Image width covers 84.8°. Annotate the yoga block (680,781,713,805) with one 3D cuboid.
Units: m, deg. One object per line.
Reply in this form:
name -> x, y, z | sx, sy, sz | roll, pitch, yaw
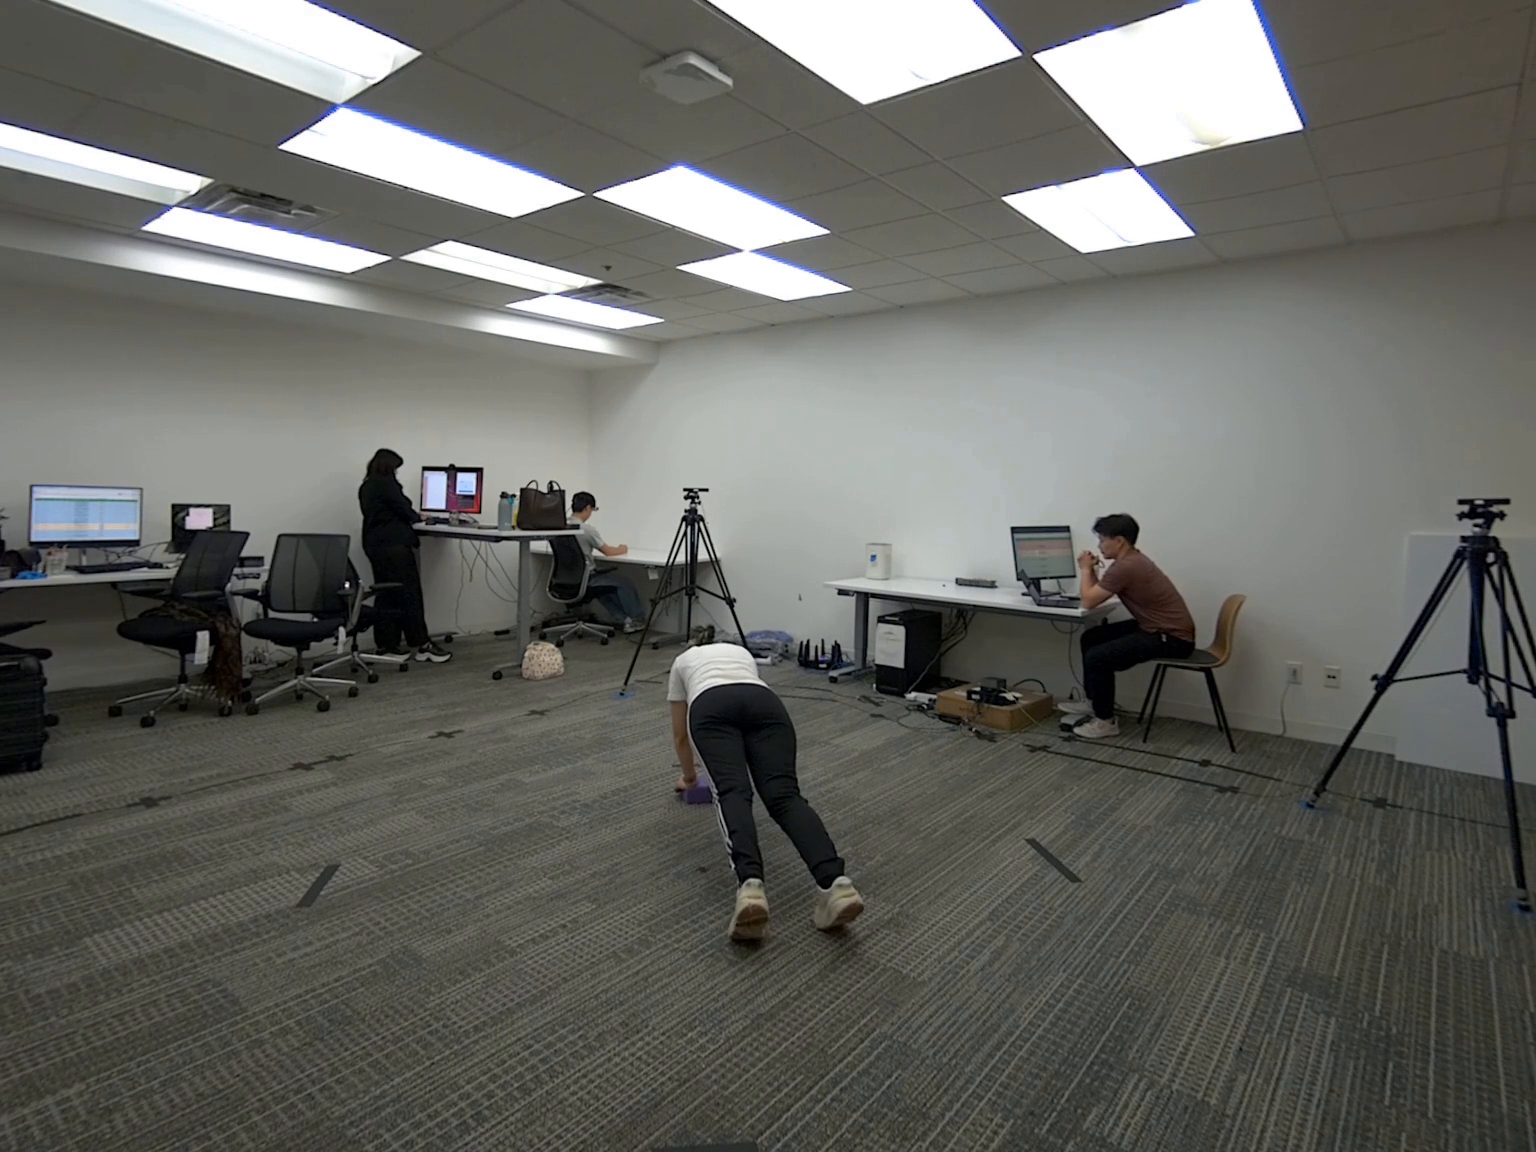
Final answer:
yoga block -> -0.275, 0.959, 3.838 | 0.226, 0.076, 0.152 | -2, 6, -15
